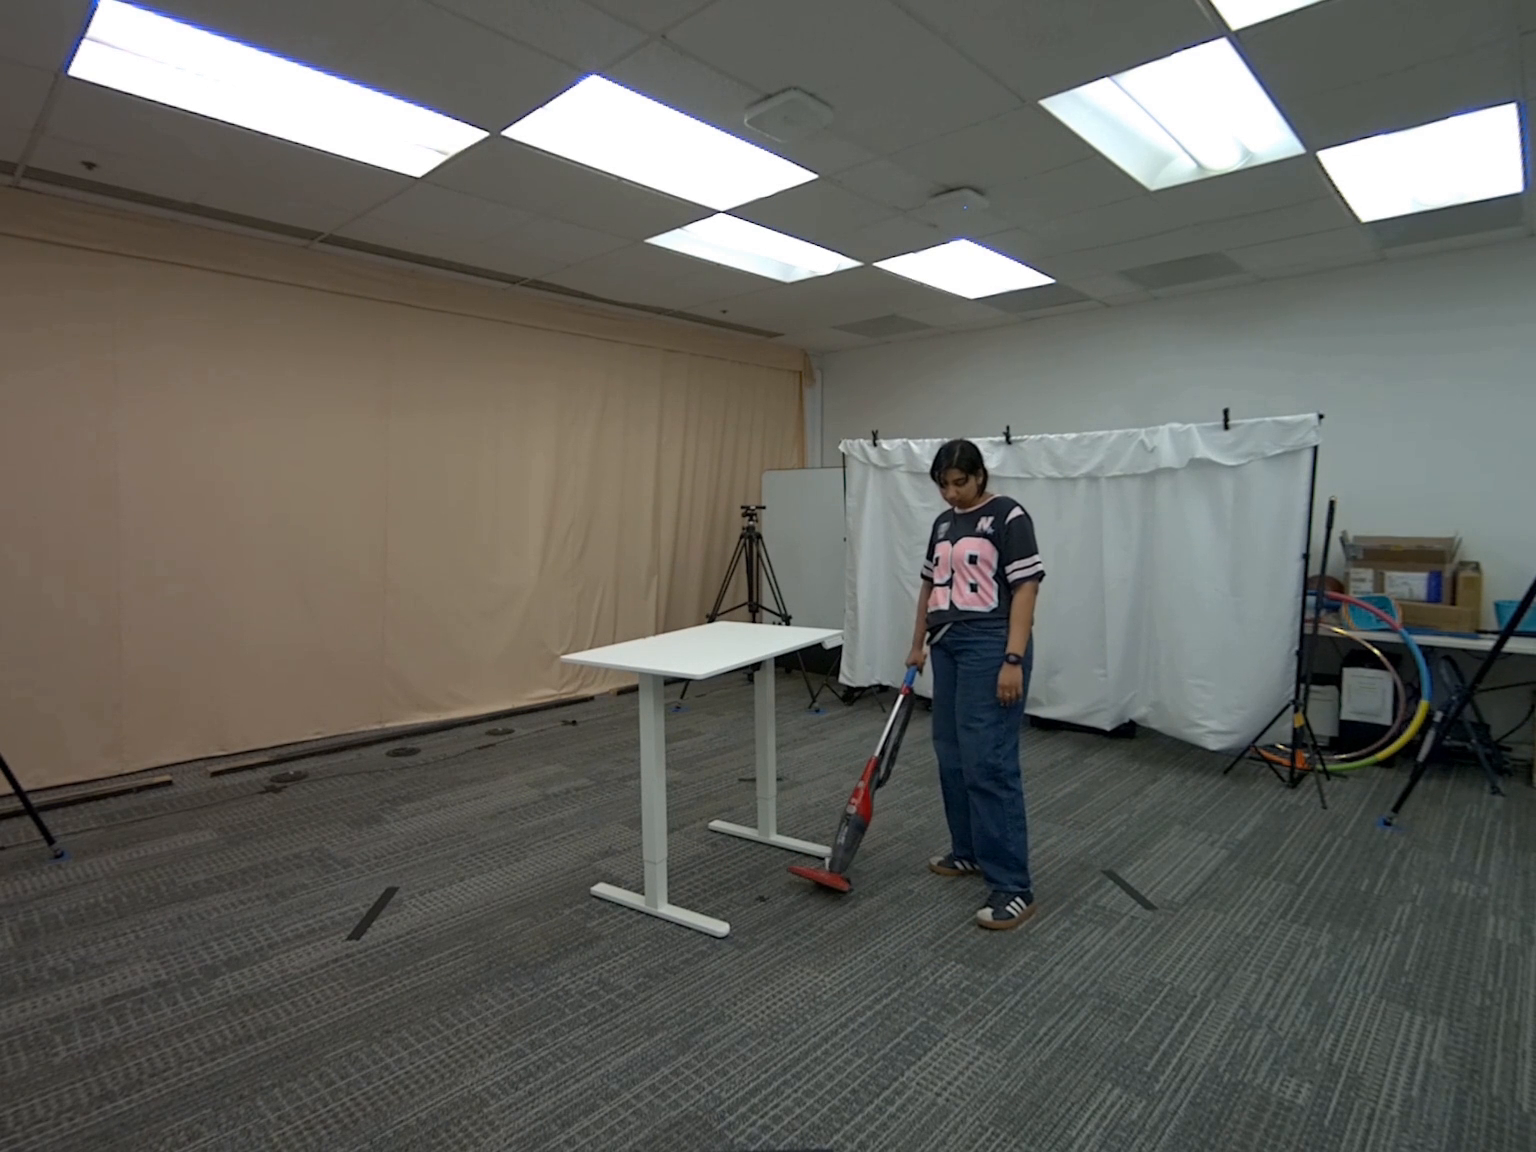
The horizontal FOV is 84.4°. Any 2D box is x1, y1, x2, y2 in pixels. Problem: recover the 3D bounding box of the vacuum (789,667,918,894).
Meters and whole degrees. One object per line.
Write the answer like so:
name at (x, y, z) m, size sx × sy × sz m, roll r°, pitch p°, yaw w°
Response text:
vacuum at (0.447, 0.730, 3.301) m, size 0.261 × 0.139 × 1.046 m, roll 11°, pitch 53°, yaw 34°
